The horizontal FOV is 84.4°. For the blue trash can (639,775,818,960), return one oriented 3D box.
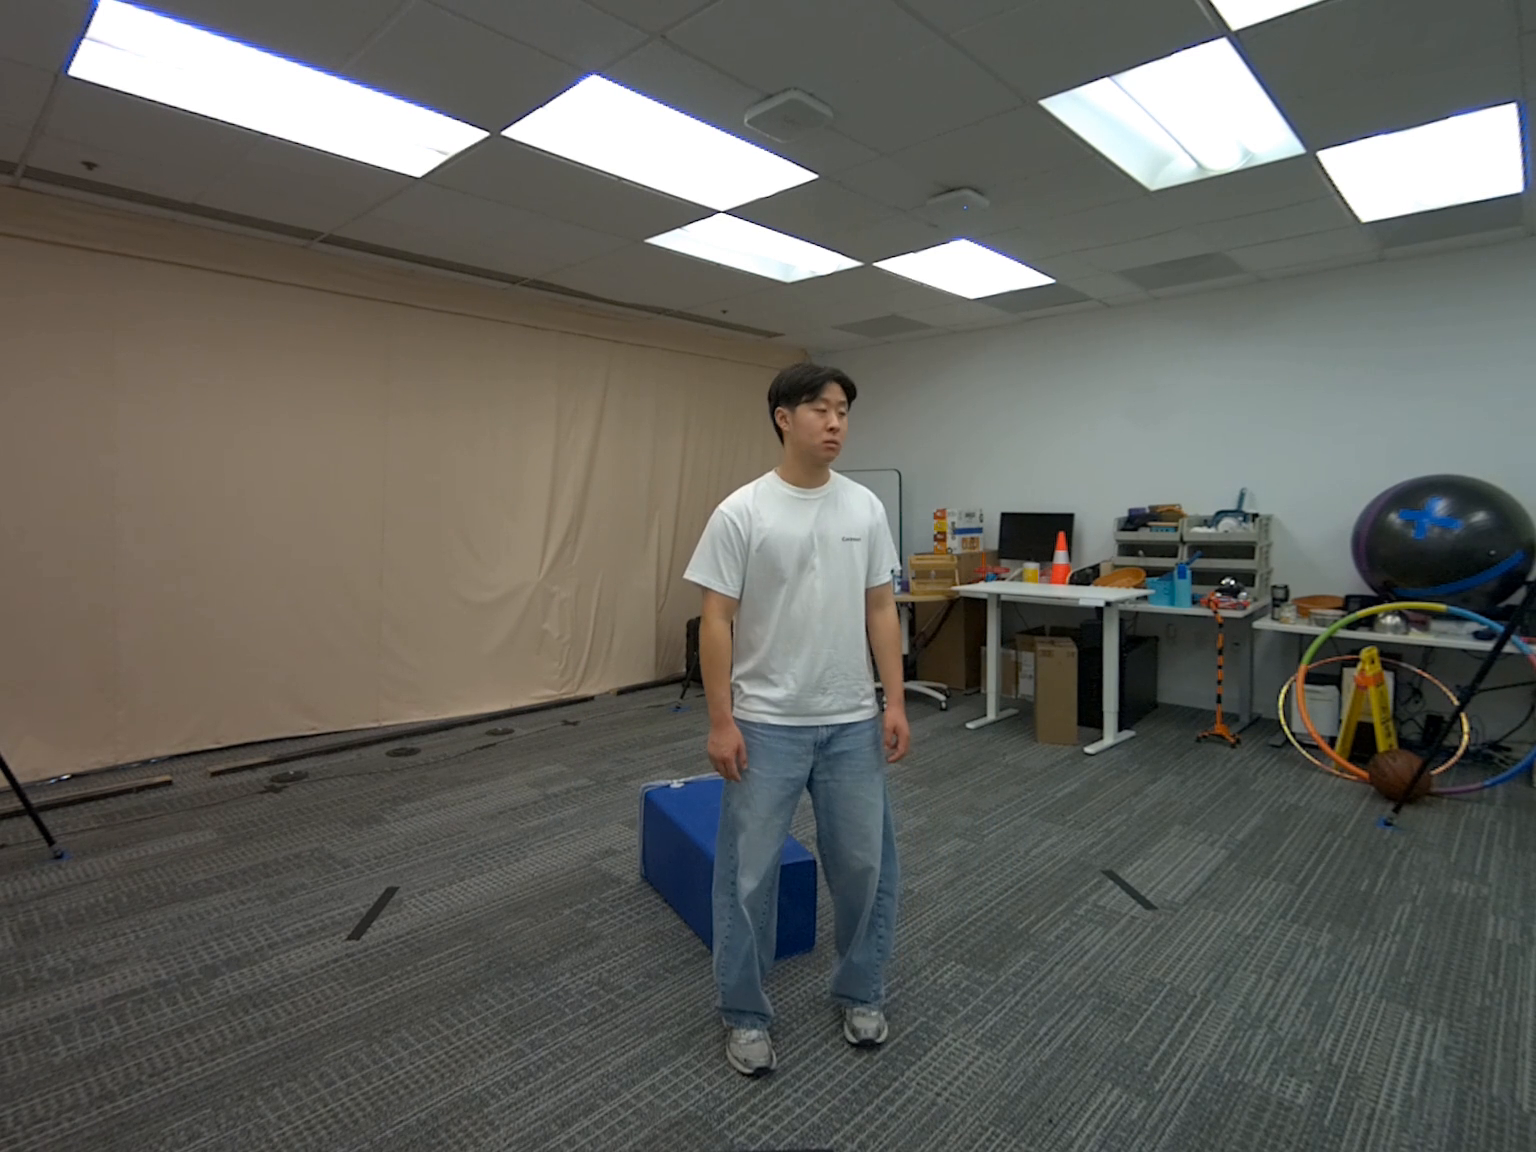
[{"bbox_3d":[-0.145,0.988,2.881,0.364,0.376,0.735,-2,8,-28],"label":"blue trash can"}]
